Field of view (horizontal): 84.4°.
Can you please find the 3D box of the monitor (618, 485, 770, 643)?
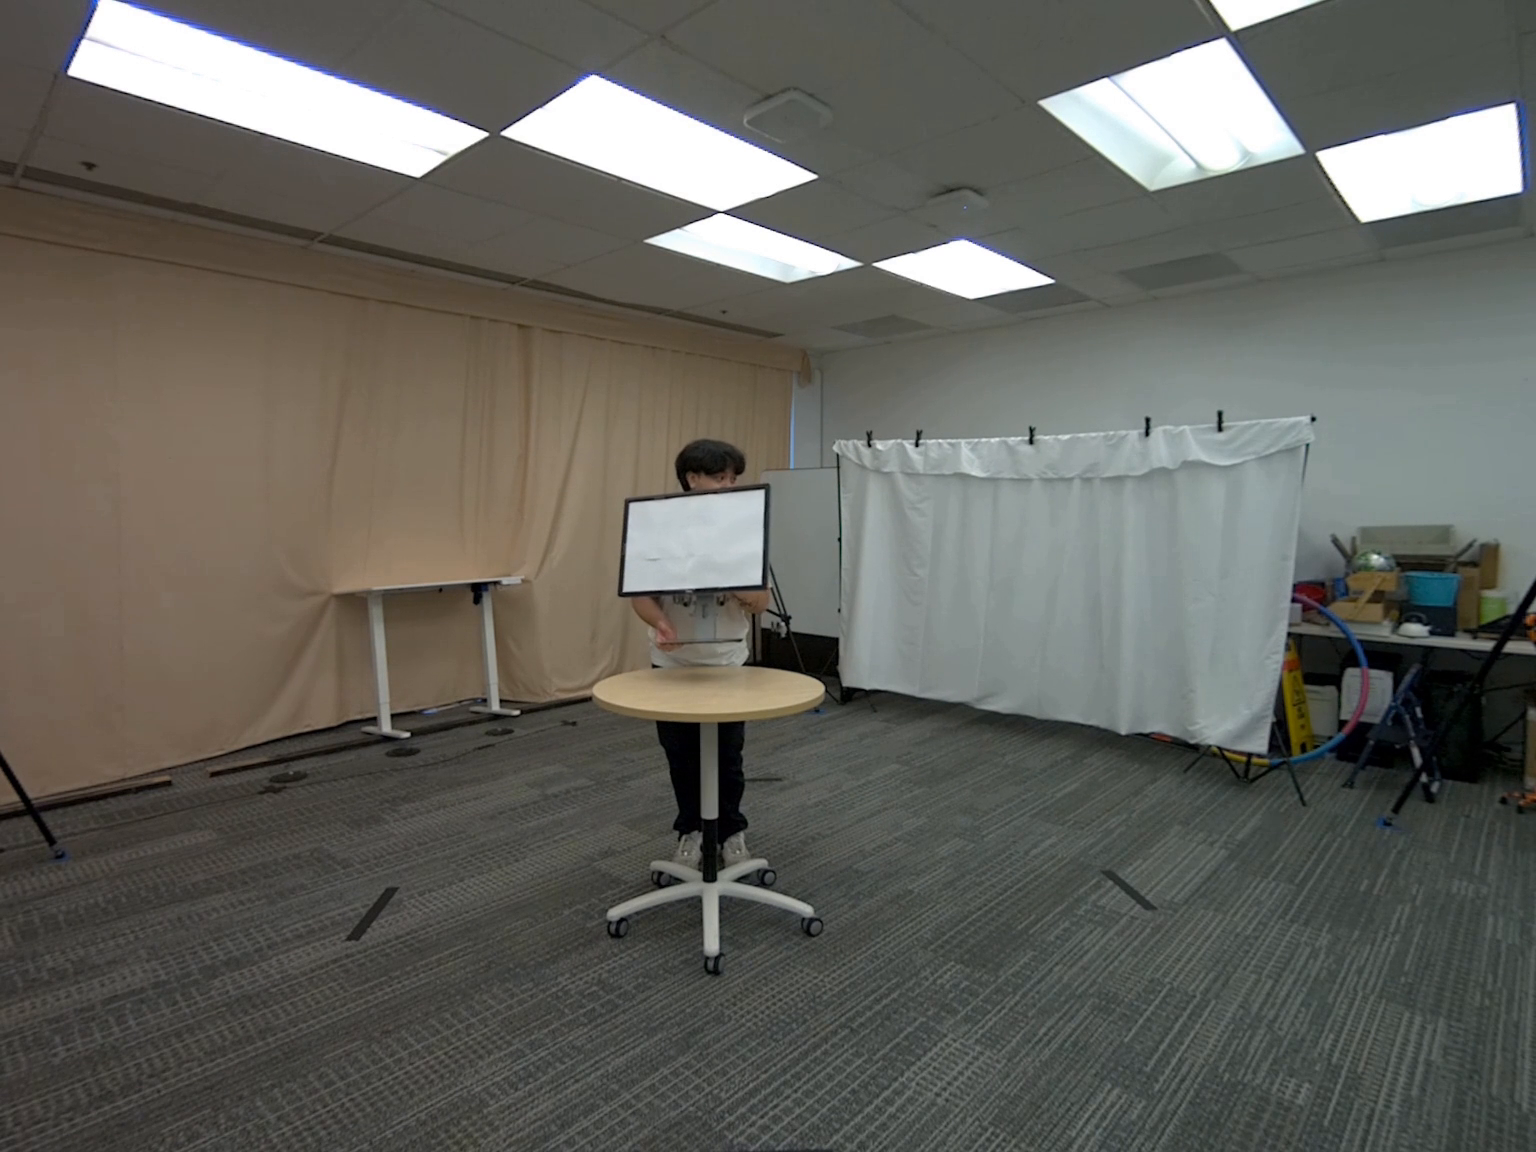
[{"bbox_3d":[-0.227,-0.017,2.939,0.578,0.557,0.204,-4,-10,24],"label":"monitor"}]
